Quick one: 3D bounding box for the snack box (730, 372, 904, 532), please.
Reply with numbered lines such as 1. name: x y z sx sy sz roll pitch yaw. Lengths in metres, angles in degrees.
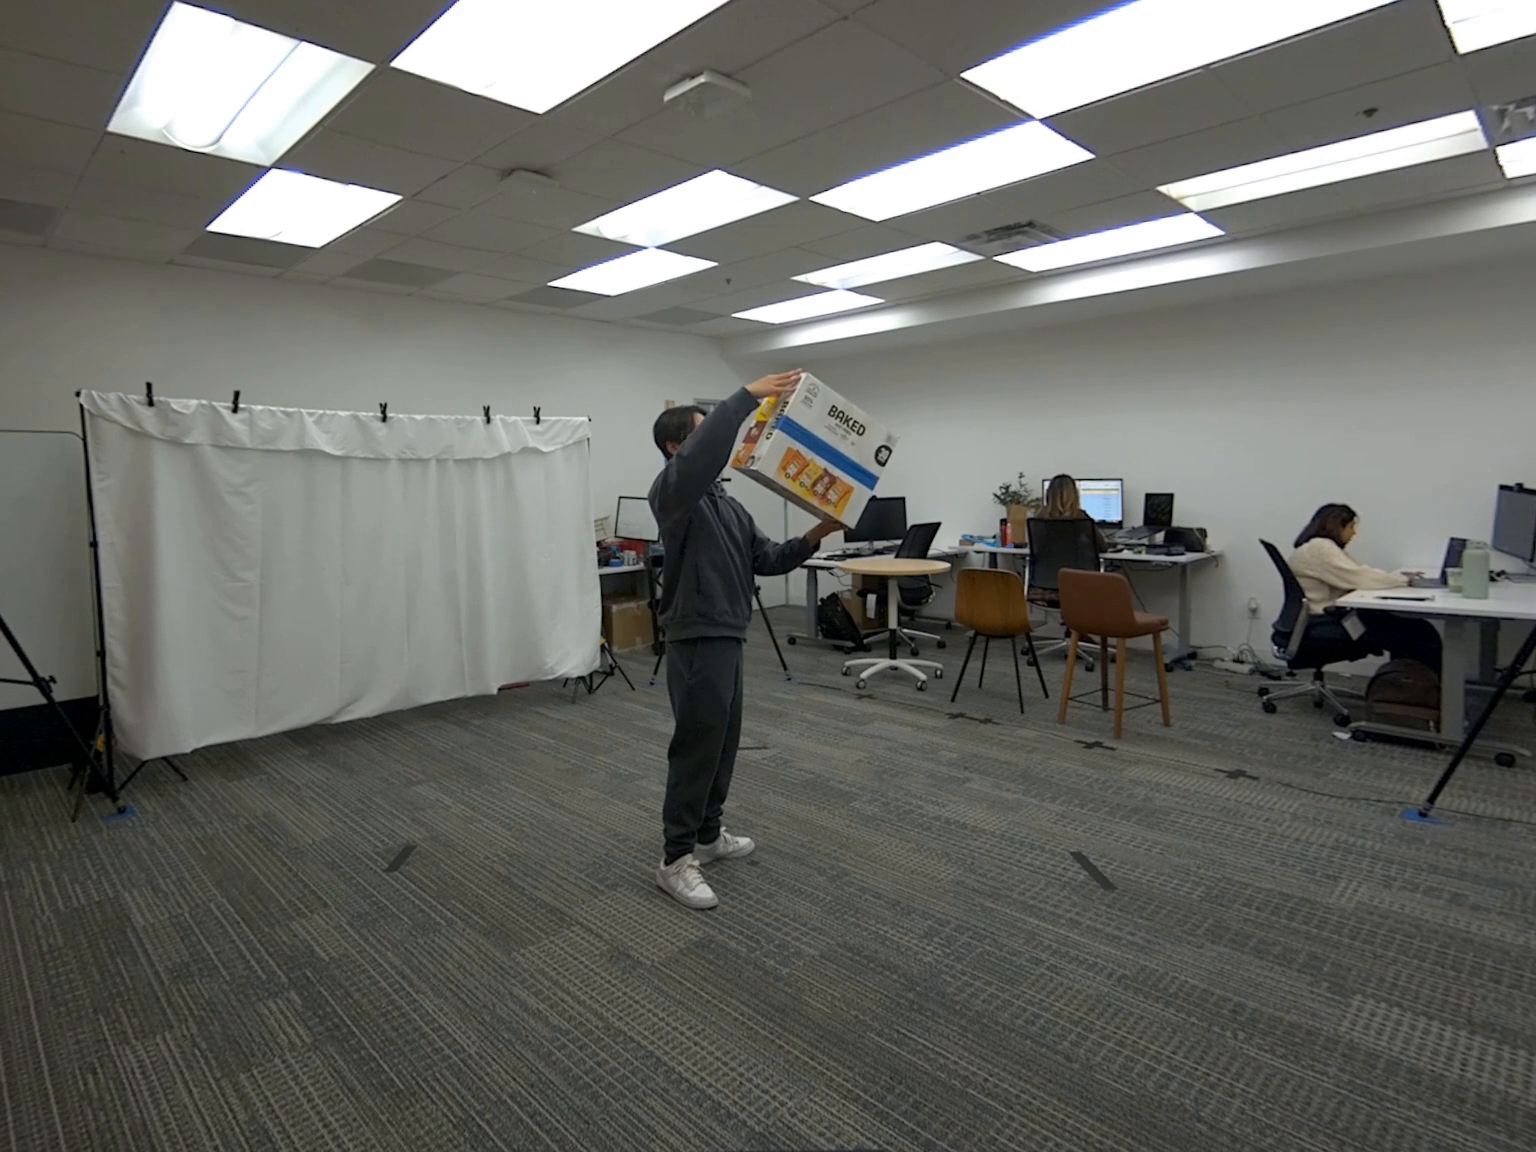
1. snack box: 0.157 -0.399 2.761 0.393 0.341 0.211 29 -5 -26
